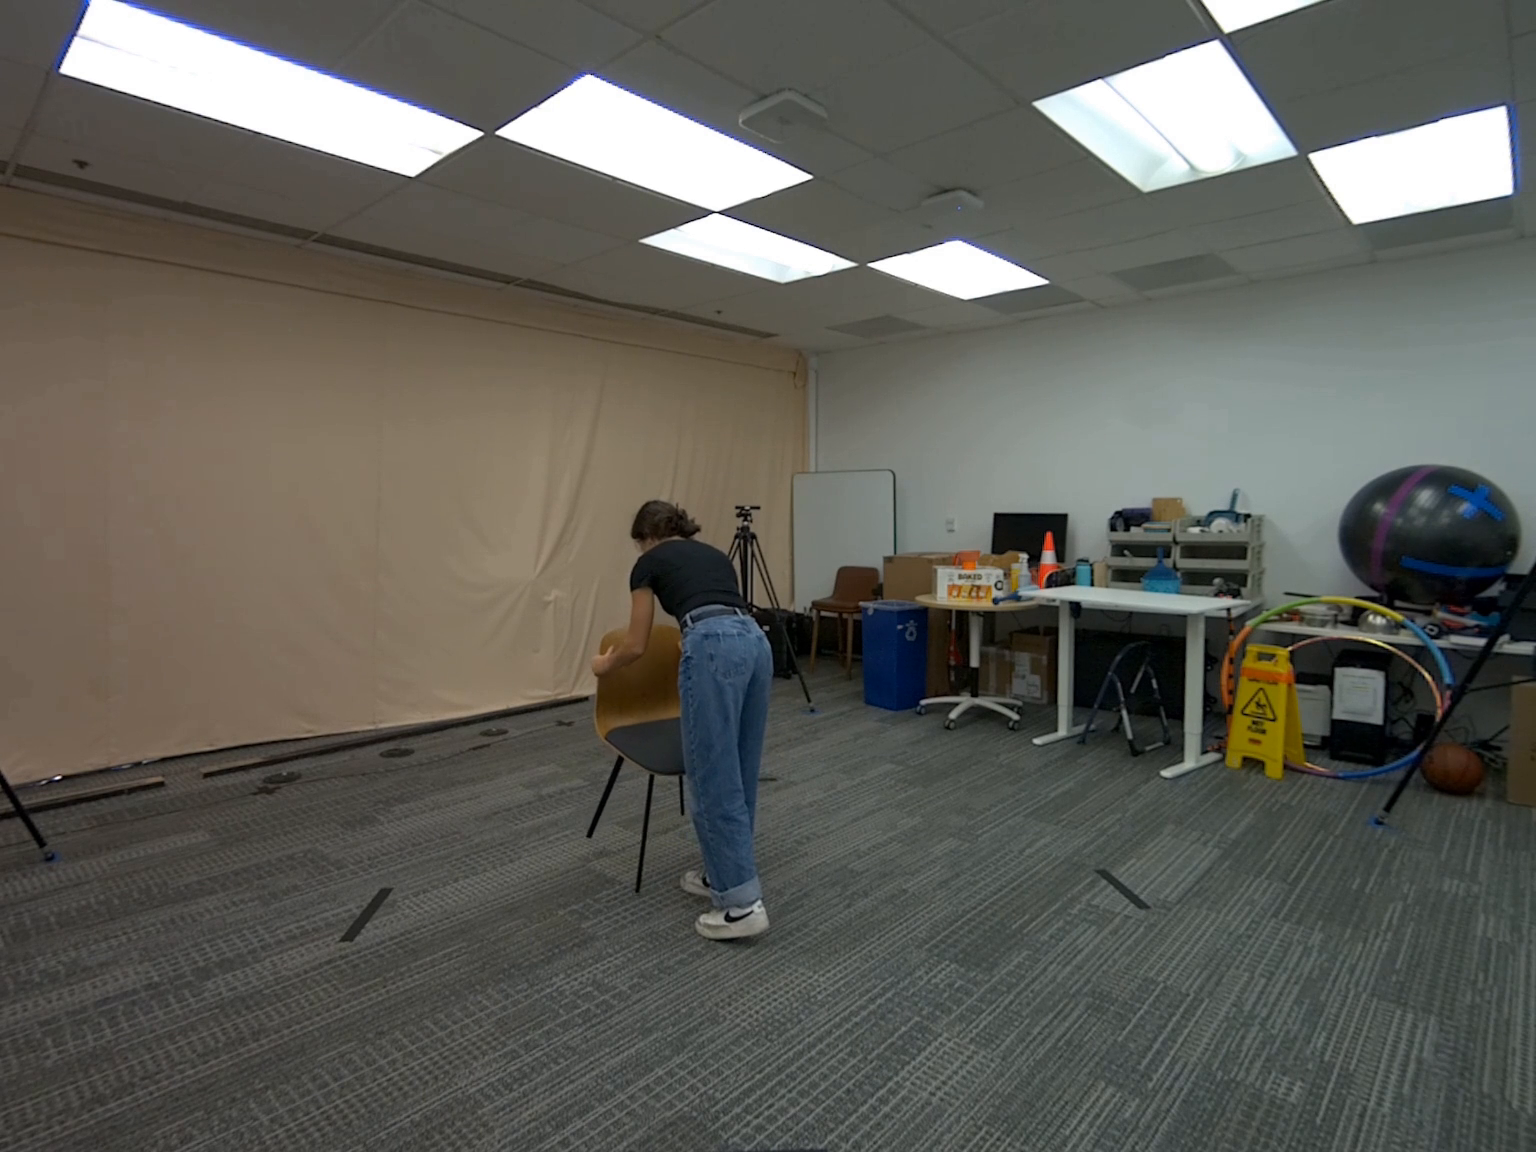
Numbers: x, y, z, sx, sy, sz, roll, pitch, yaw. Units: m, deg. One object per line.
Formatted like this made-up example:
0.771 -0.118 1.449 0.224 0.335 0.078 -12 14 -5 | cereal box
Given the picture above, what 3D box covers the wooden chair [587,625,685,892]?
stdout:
-0.388 0.657 3.234 0.464 0.874 0.540 -3 7 -35 | wooden chair
